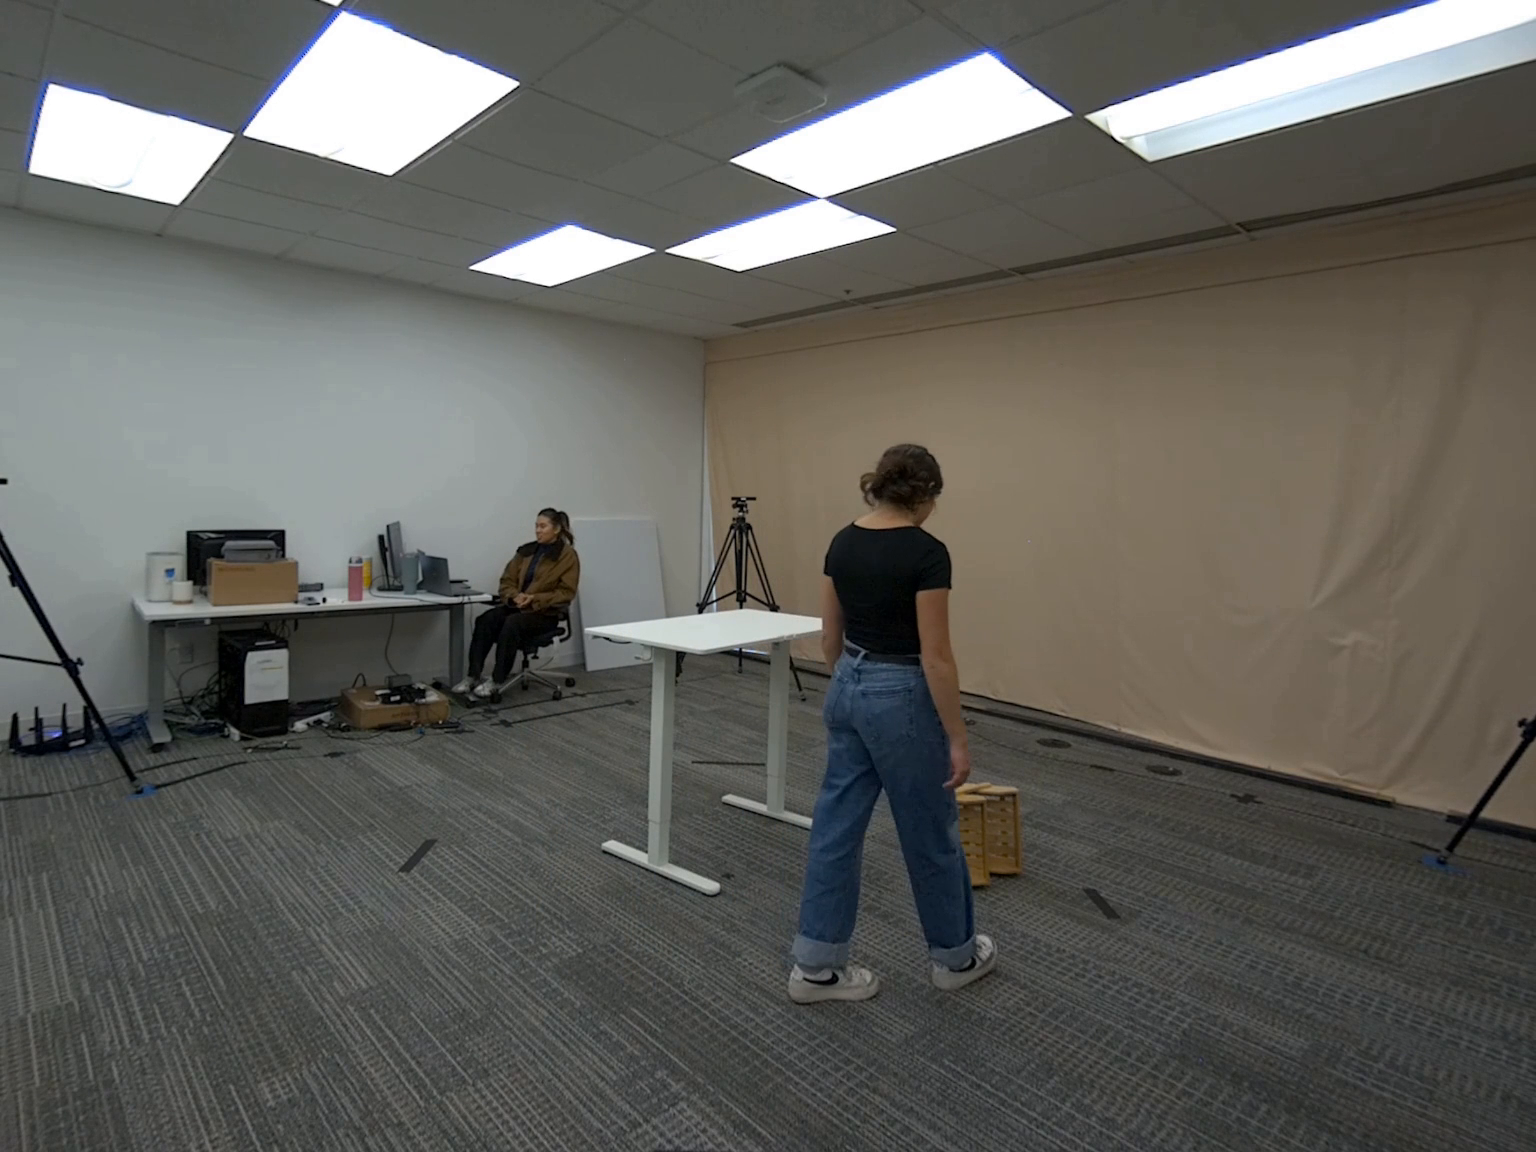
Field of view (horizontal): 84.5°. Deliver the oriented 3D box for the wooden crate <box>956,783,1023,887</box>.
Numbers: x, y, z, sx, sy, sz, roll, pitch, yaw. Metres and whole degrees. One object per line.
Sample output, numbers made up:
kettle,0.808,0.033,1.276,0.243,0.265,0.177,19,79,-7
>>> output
wooden crate,0.771,0.963,3.145,0.307,0.325,0.268,-3,-2,25
